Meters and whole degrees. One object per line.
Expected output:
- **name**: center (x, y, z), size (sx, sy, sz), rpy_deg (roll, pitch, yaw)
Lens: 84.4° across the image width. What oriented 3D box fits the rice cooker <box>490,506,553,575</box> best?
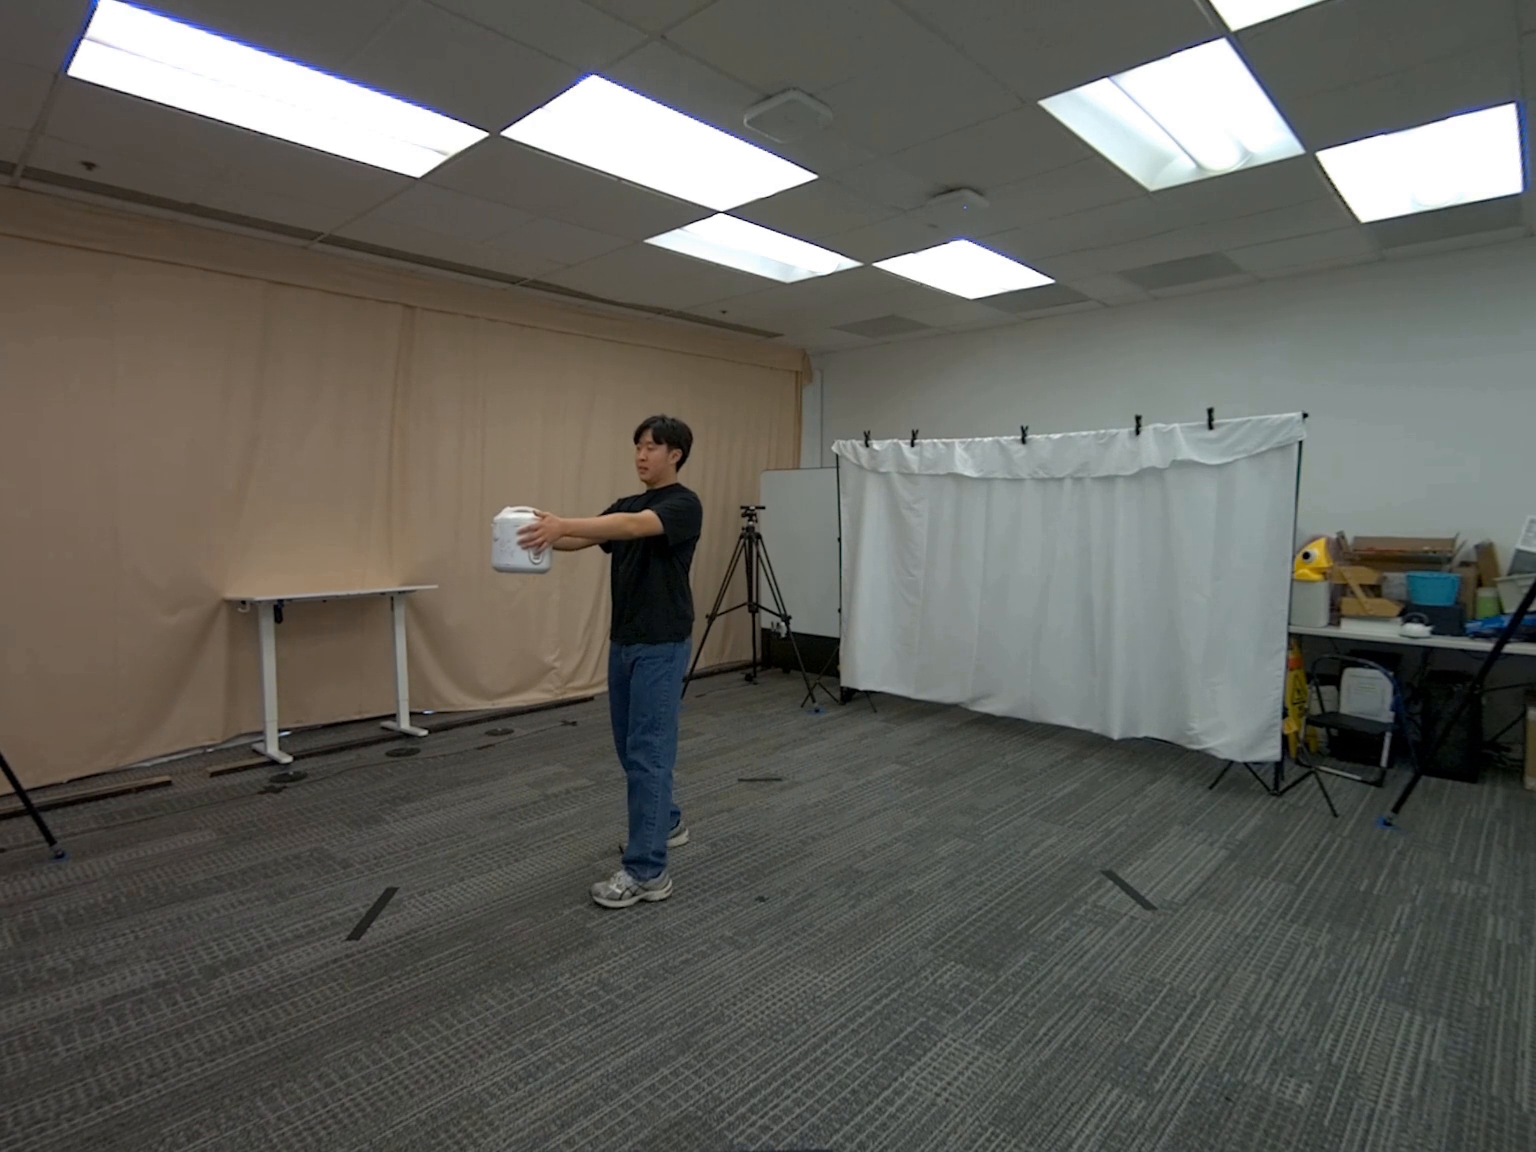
- **rice cooker**: center (-0.848, -0.125, 2.911), size (0.213, 0.233, 0.224), rpy_deg (0, 2, -42)
